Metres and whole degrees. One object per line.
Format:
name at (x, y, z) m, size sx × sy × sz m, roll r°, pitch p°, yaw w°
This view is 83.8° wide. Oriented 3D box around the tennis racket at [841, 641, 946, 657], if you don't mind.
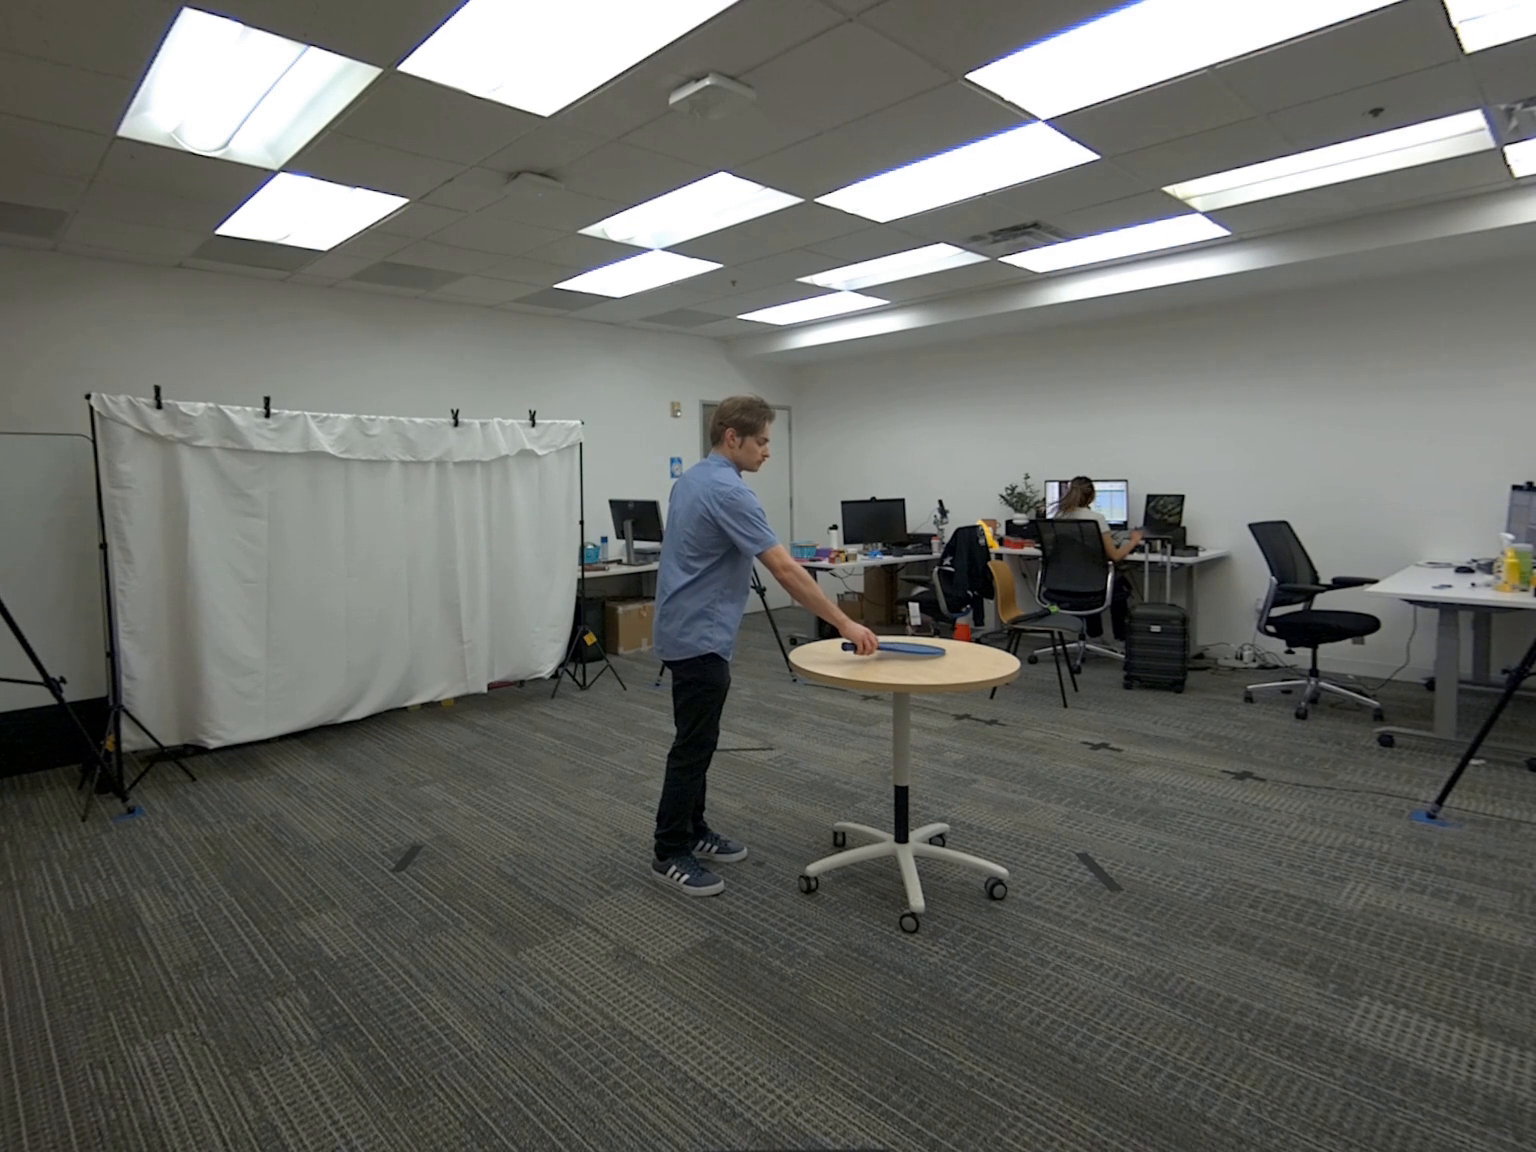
tennis racket at (0.430, 0.244, 2.919) m, size 0.421 × 0.032 × 0.220 m, roll 4°, pitch 4°, yaw -33°
